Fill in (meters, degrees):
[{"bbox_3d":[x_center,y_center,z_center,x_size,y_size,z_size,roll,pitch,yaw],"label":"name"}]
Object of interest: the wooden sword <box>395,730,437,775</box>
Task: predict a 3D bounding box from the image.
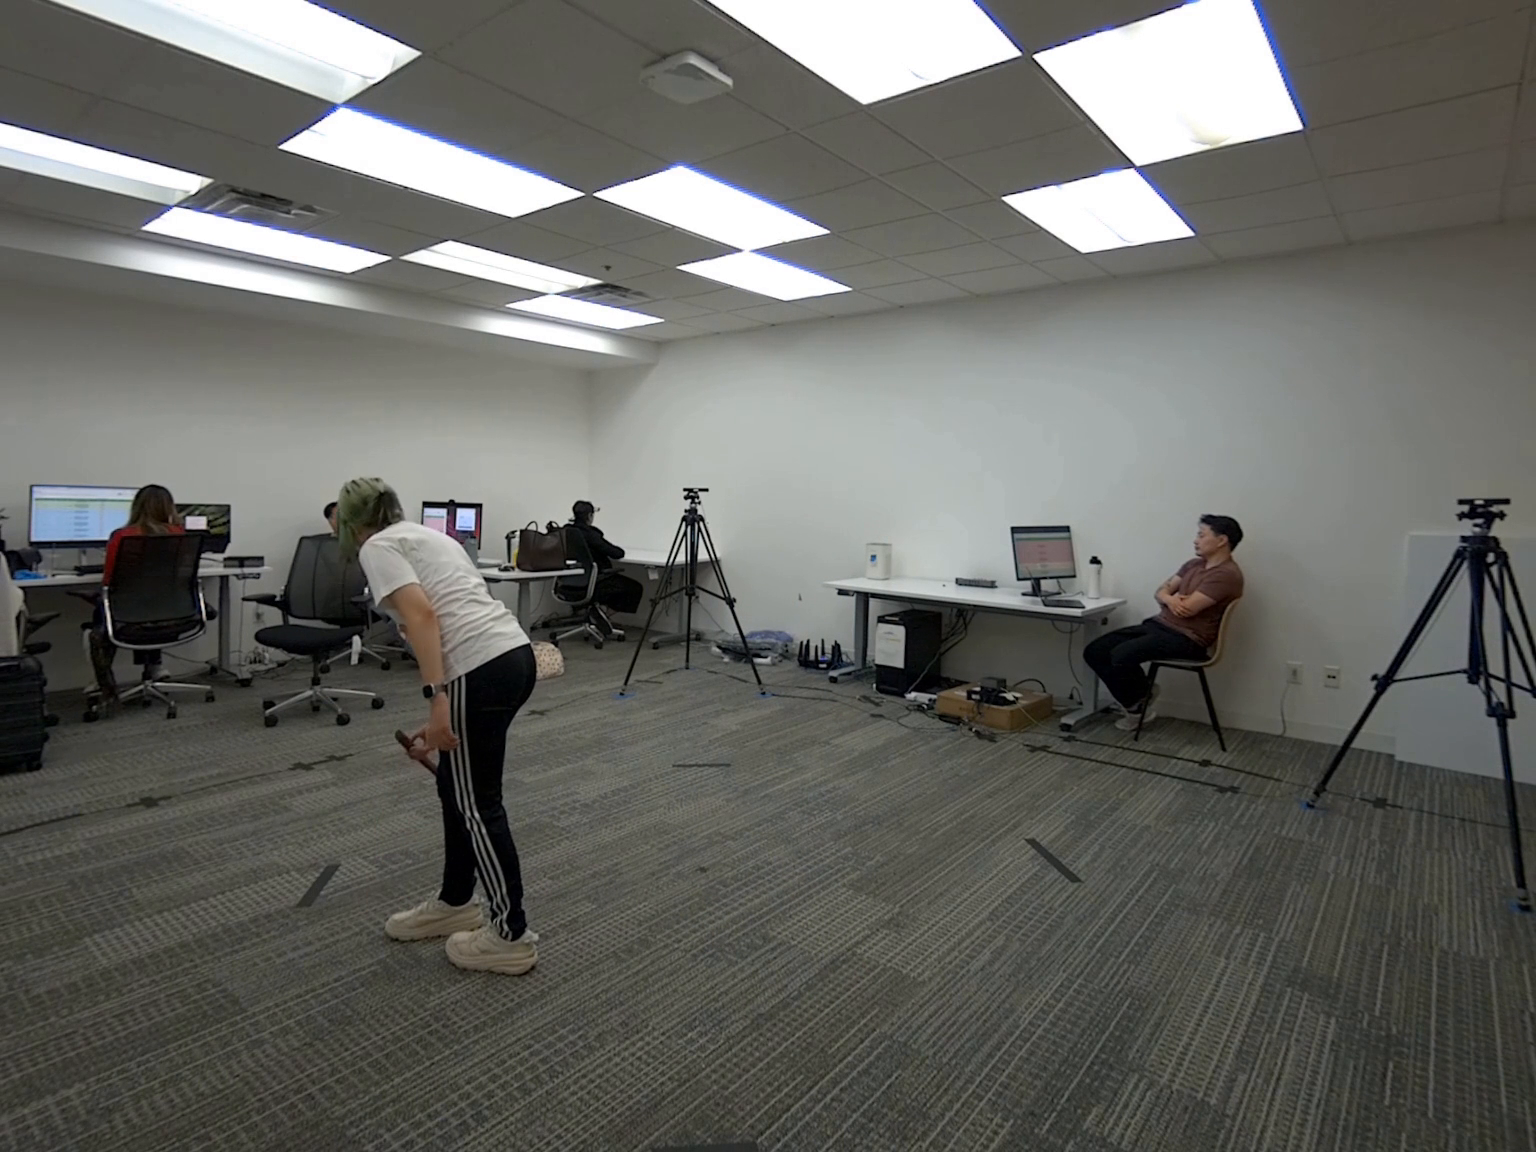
[{"bbox_3d":[-1.196,0.767,3.131,0.051,0.025,0.994,-13,-30,-3],"label":"wooden sword"}]
